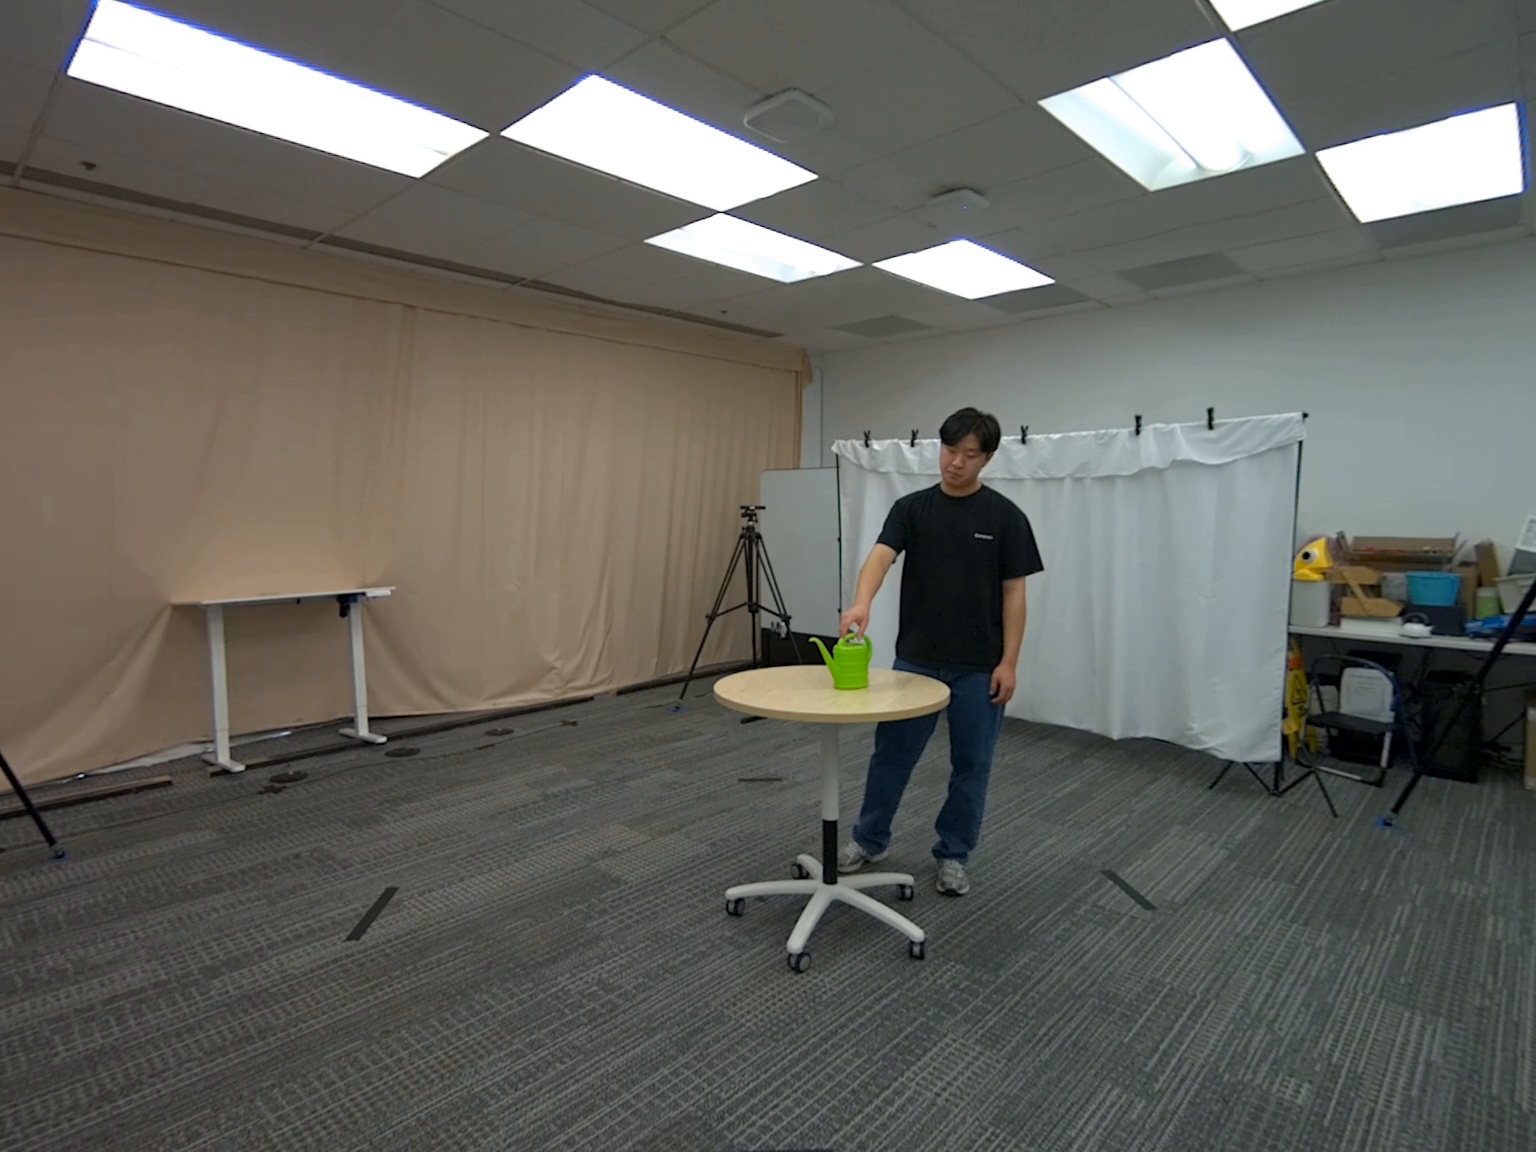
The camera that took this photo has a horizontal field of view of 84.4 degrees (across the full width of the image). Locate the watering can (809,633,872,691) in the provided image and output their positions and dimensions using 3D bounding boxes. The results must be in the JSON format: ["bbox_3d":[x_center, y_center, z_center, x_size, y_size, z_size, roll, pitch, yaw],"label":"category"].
[{"bbox_3d":[0.236,0.279,2.739,0.271,0.176,0.100,0,3,-25],"label":"watering can"}]
